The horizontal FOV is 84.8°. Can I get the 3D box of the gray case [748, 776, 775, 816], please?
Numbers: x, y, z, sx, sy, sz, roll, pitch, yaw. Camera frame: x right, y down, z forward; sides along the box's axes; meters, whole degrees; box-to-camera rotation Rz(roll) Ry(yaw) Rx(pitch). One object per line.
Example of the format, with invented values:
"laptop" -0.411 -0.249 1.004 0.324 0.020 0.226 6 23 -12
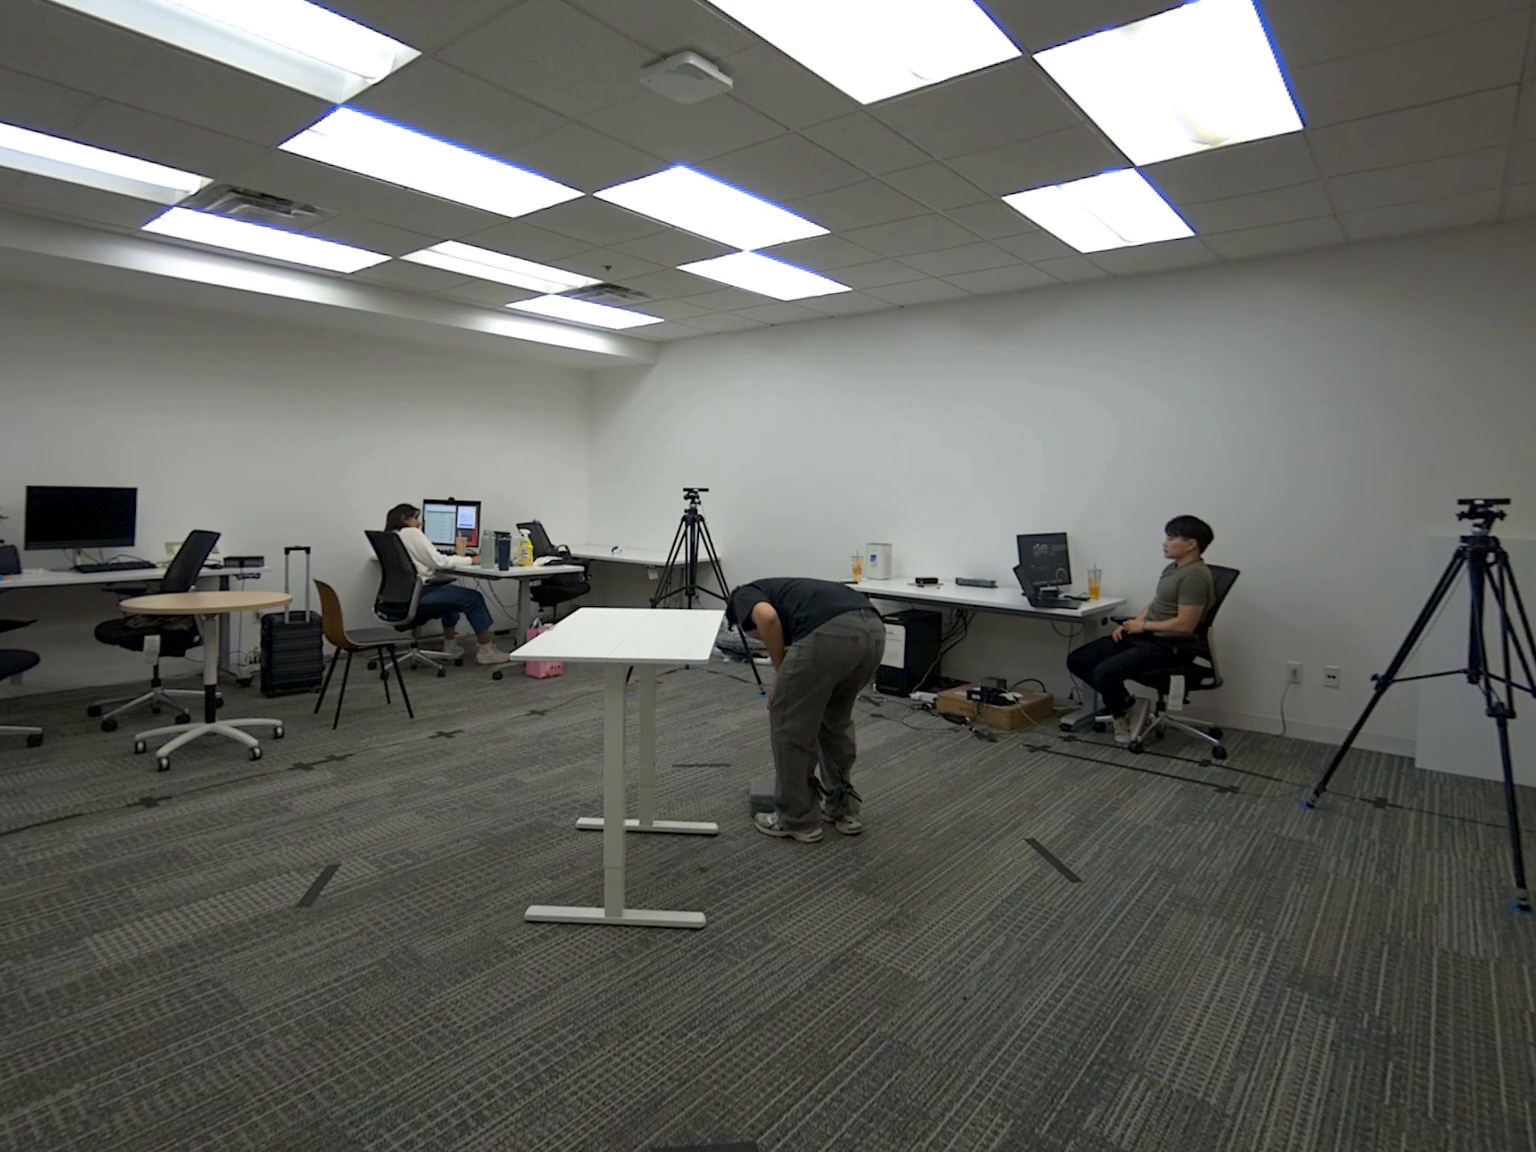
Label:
"gray case" 0.036 0.952 3.723 0.264 0.102 0.288 0 6 1
